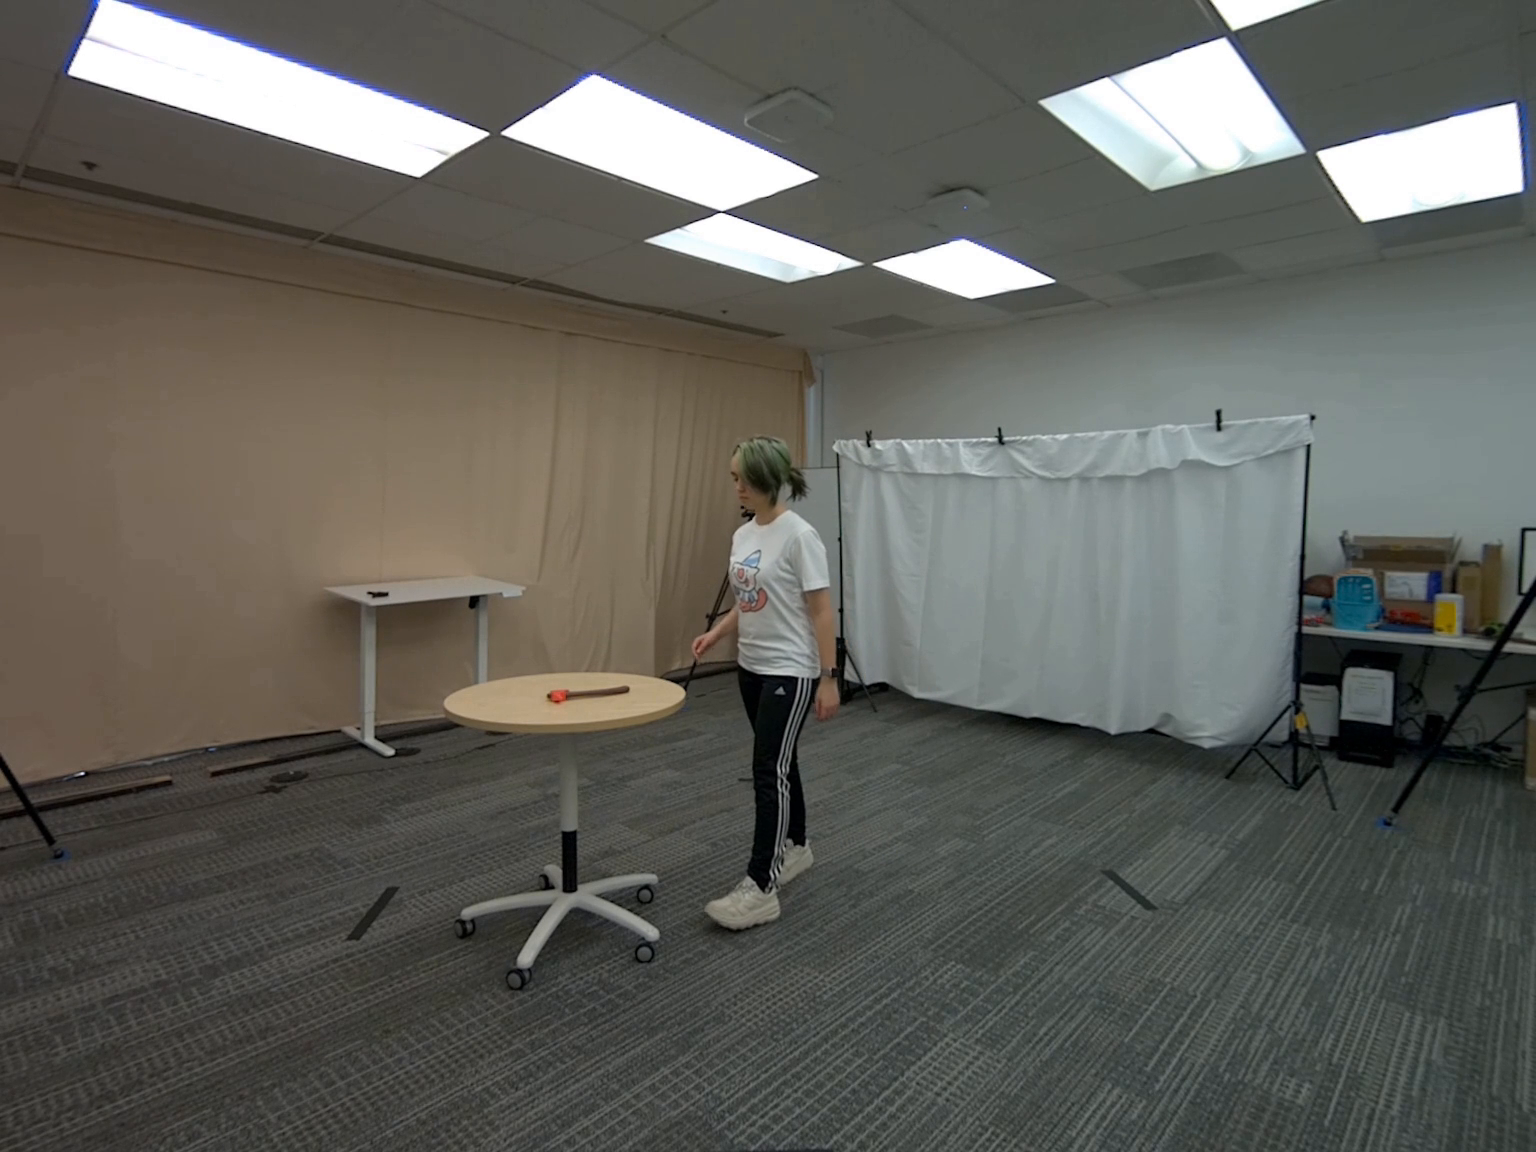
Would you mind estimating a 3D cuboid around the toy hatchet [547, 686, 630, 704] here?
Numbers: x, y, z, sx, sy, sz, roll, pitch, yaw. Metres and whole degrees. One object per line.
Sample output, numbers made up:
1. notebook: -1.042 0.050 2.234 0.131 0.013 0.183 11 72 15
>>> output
1. toy hatchet: -0.579 0.372 2.717 0.261 0.029 0.135 -1 -1 -41
